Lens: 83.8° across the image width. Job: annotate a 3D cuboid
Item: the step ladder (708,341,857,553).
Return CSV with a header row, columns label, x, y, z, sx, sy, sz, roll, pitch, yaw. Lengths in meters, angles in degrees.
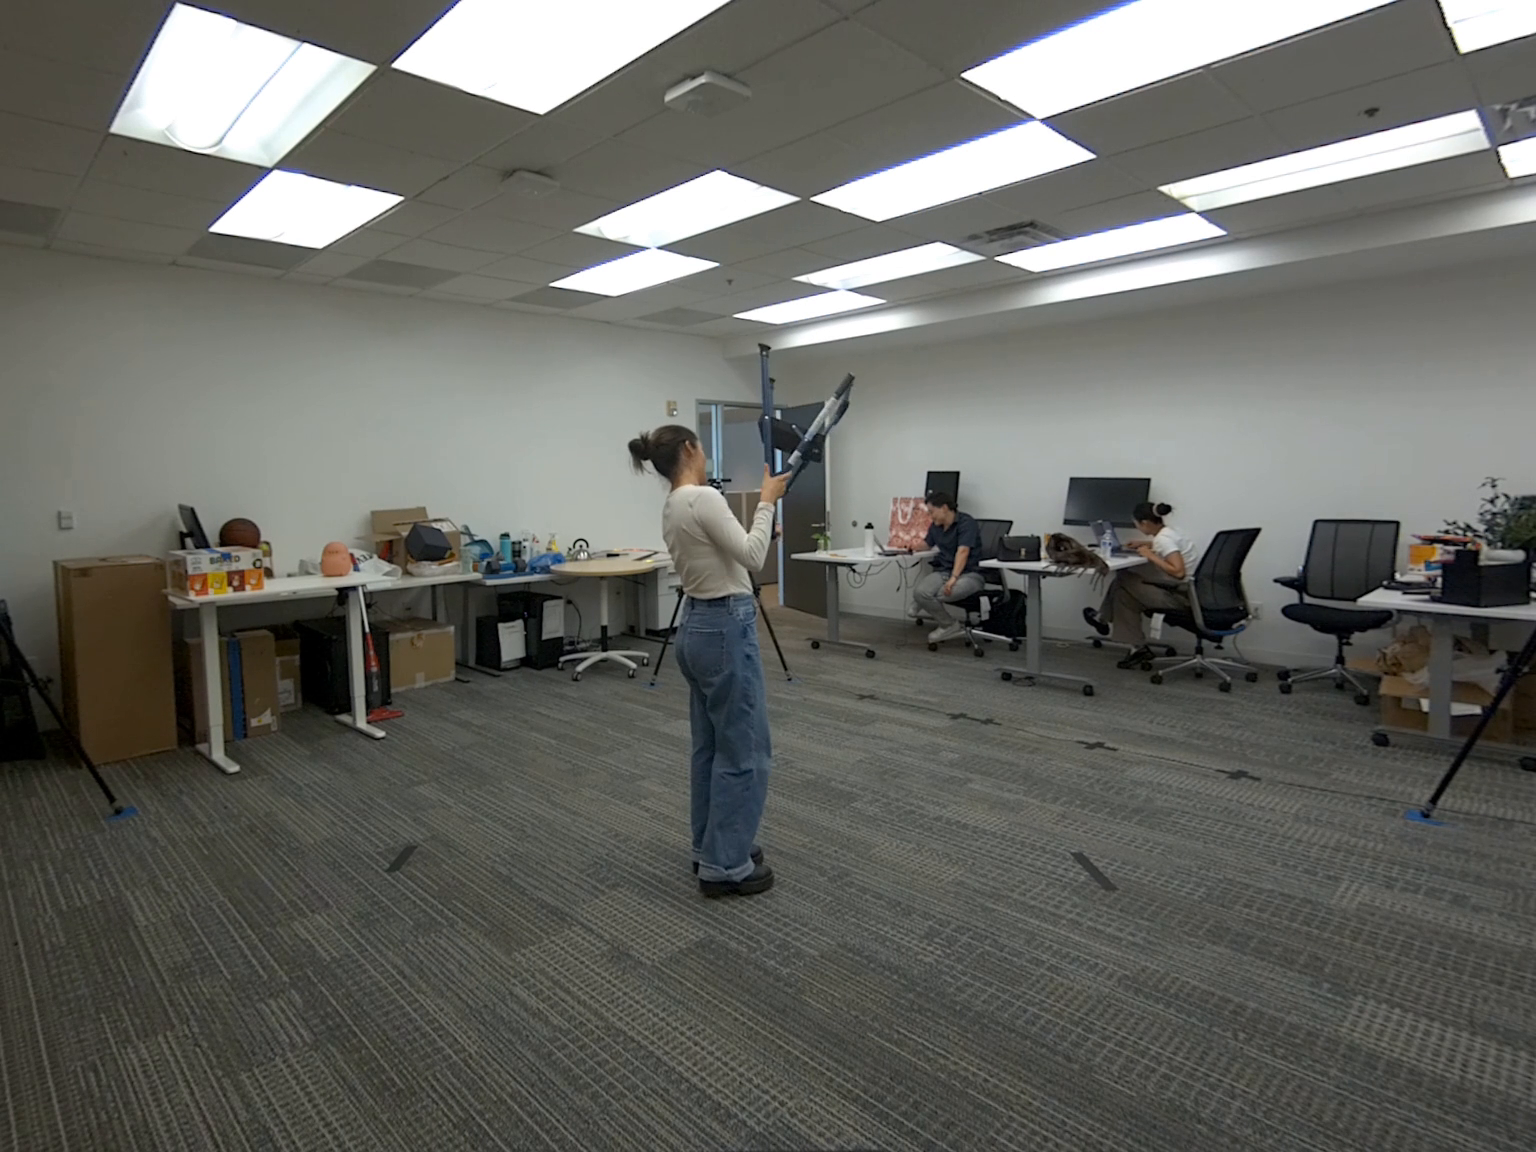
label,x,y,z,sx,sy,sz,roll,pitch,yaw
step ladder,0.047,-0.449,3.100,0.353,0.607,0.426,20,-2,7
